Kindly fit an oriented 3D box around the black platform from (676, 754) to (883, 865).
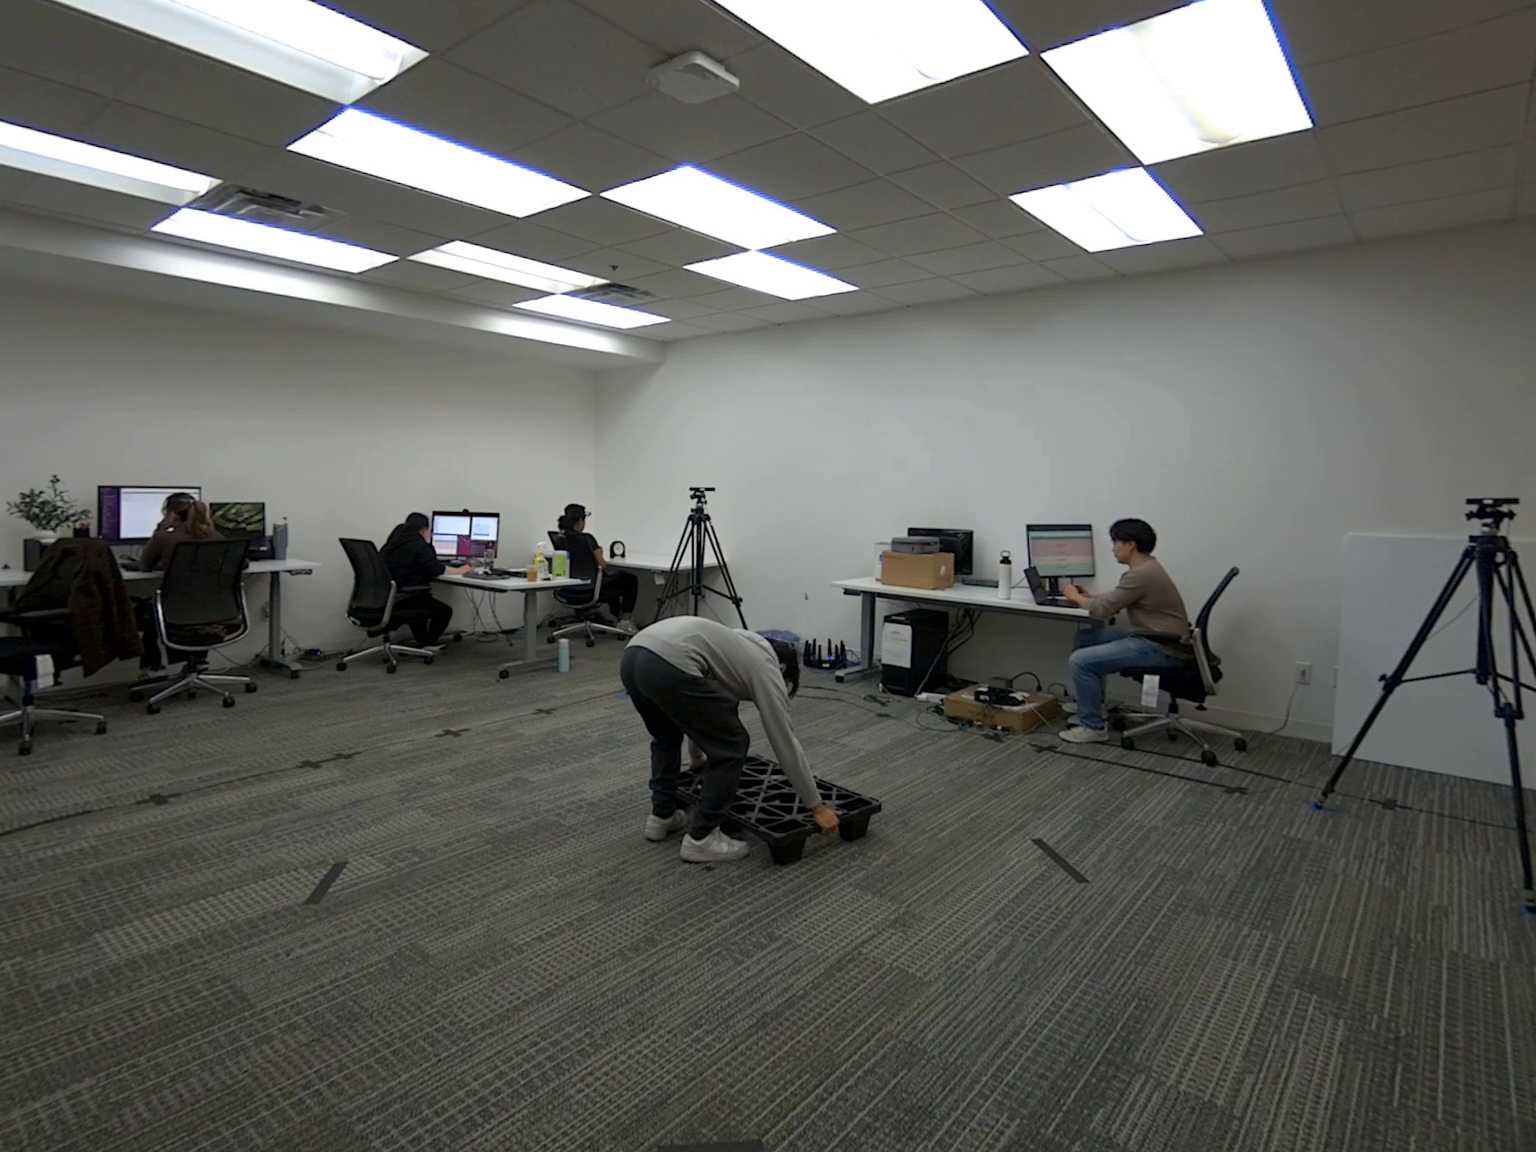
[{"bbox_3d":[-0.025,0.953,3.566,0.587,0.143,0.833,-4,7,-41],"label":"black platform"}]
